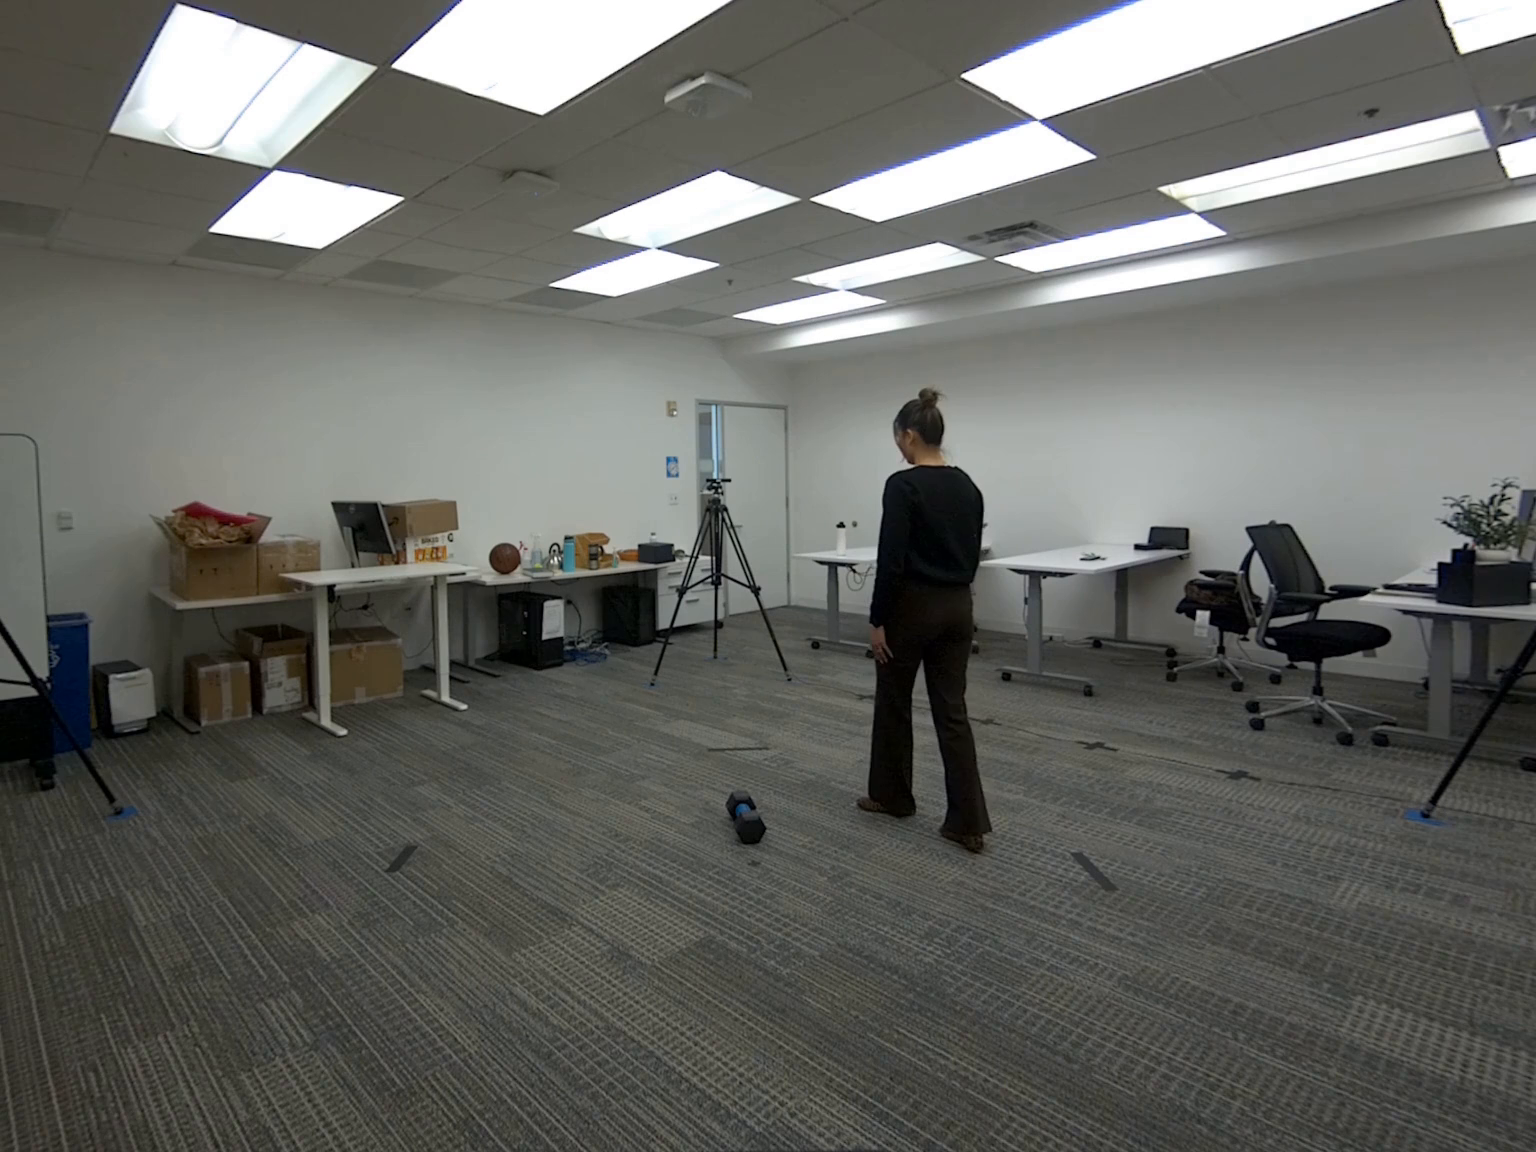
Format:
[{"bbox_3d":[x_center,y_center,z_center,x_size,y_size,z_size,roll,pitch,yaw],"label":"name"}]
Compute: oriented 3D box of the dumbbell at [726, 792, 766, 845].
[{"bbox_3d":[-0.092,0.960,3.404,0.108,0.121,0.298,-32,11,-7],"label":"dumbbell"}]
